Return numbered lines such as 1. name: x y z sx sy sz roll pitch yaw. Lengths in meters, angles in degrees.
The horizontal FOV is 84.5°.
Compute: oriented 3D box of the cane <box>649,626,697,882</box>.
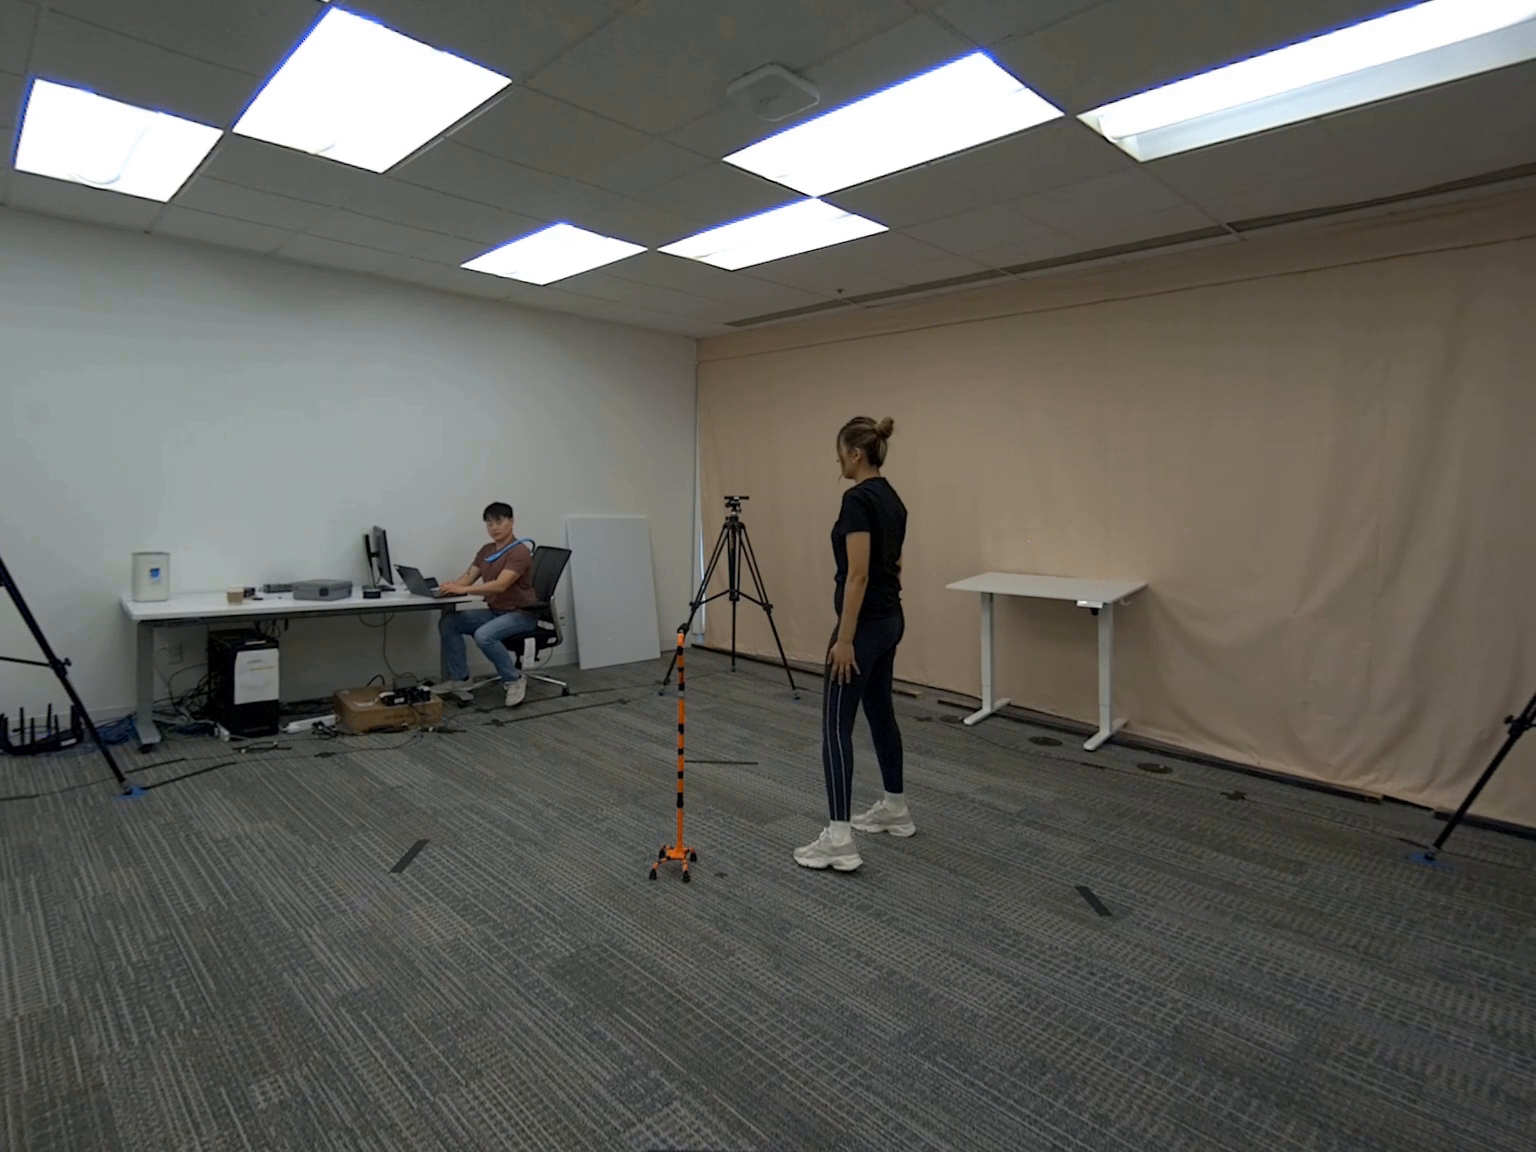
1. cane: -0.345 0.647 3.118 0.152 0.905 0.206 2 3 3
